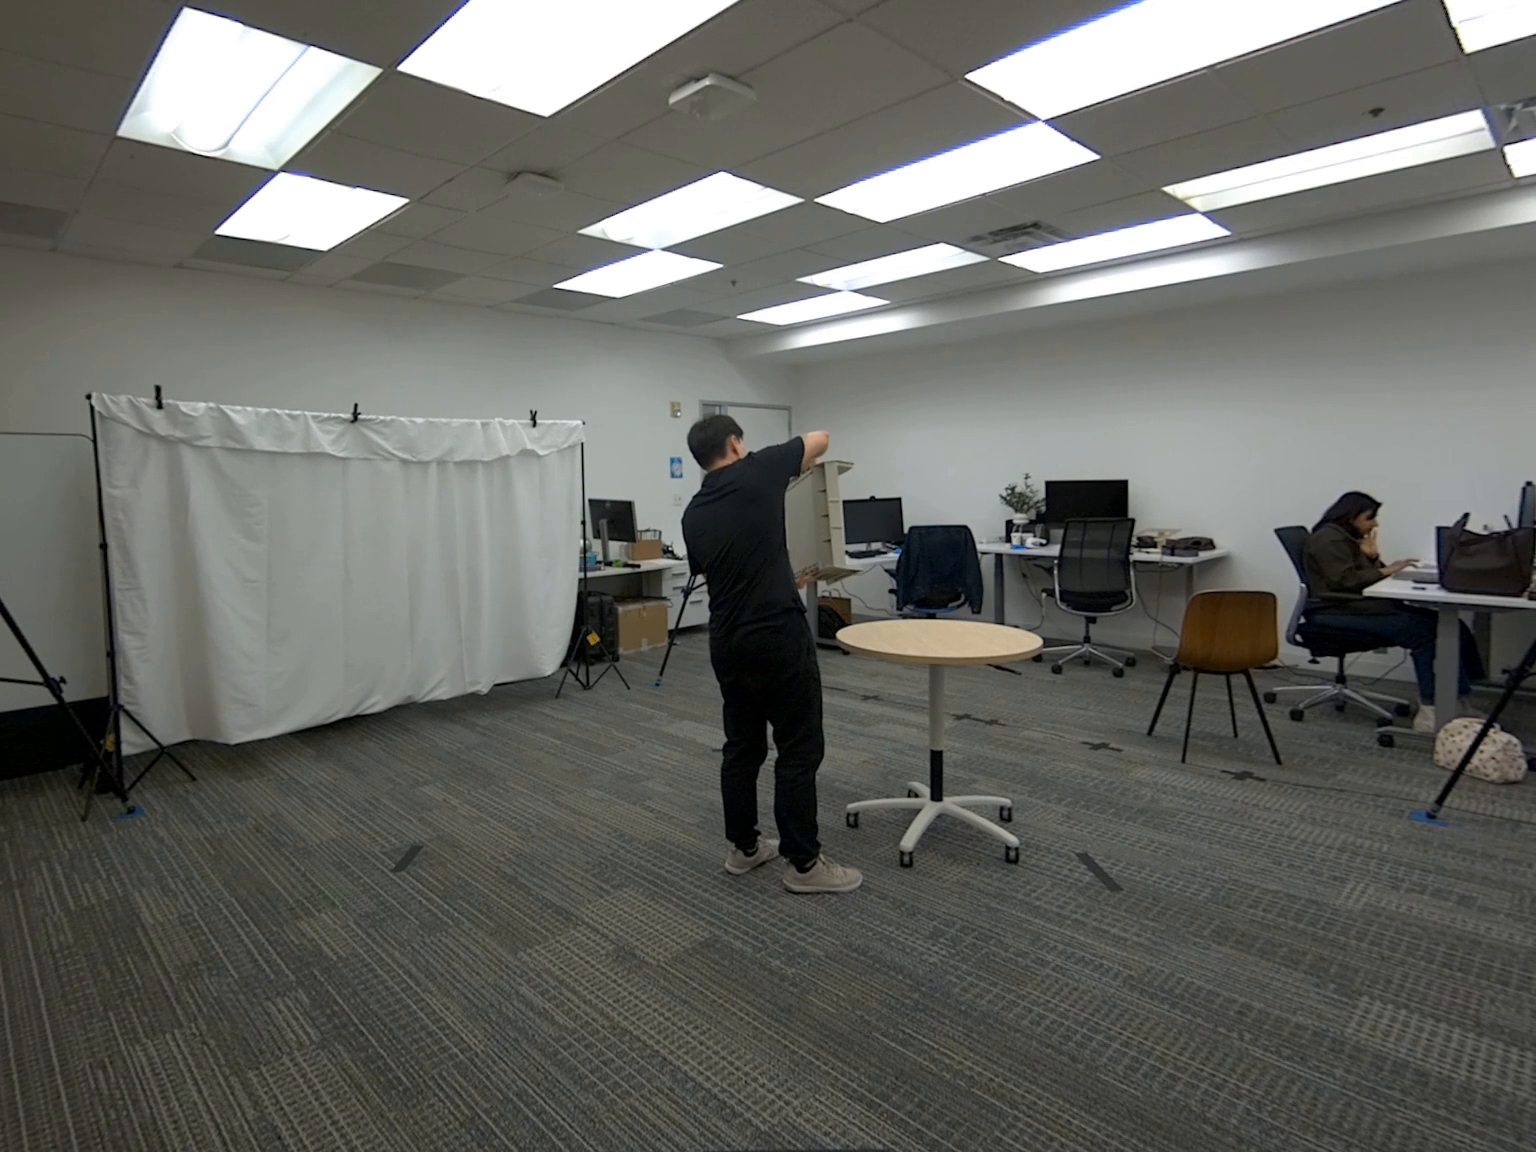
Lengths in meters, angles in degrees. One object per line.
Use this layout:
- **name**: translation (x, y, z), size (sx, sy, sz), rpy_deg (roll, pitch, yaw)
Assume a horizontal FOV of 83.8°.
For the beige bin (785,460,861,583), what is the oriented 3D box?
- **beige bin**: translation (0.219, -0.201, 3.357), size (0.185, 0.427, 0.380), rpy_deg (-1, -11, -21)
